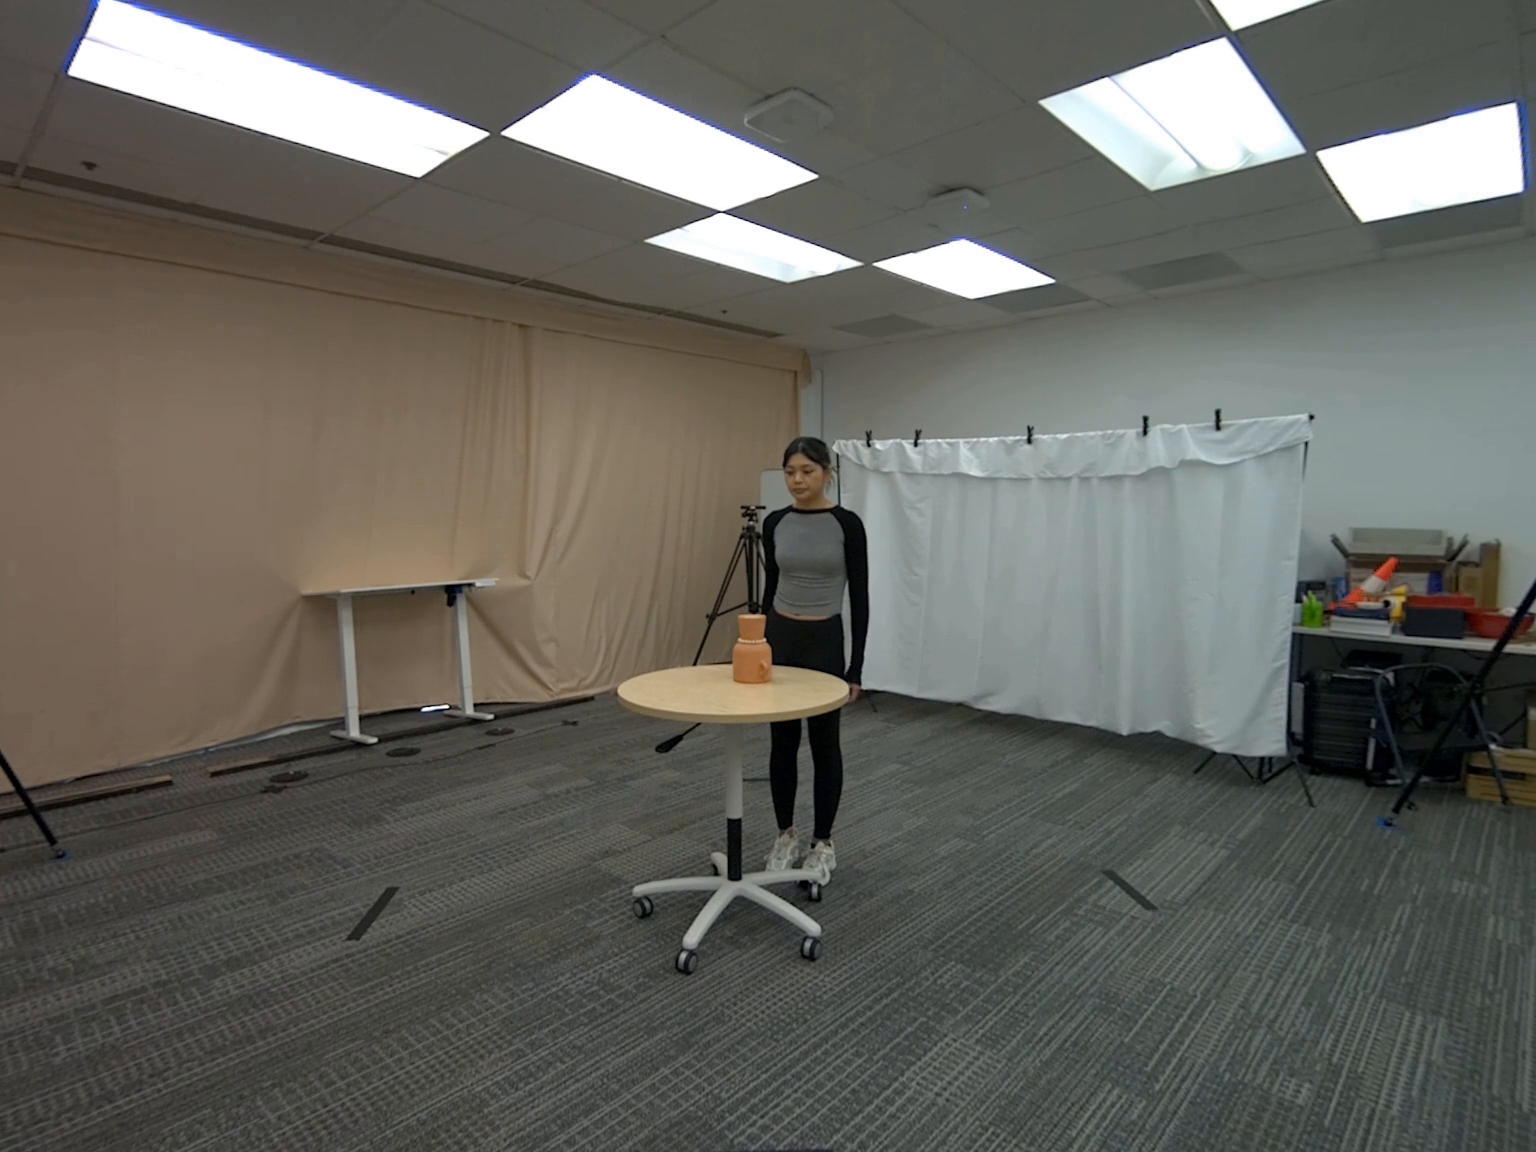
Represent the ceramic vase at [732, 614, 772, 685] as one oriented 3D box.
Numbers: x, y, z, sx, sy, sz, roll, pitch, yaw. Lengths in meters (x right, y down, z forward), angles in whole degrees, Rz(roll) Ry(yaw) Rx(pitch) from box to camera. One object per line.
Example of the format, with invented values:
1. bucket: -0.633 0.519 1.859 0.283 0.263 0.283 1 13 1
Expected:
1. ceramic vase: -0.050 0.247 2.895 0.162 0.219 0.132 1 2 21
